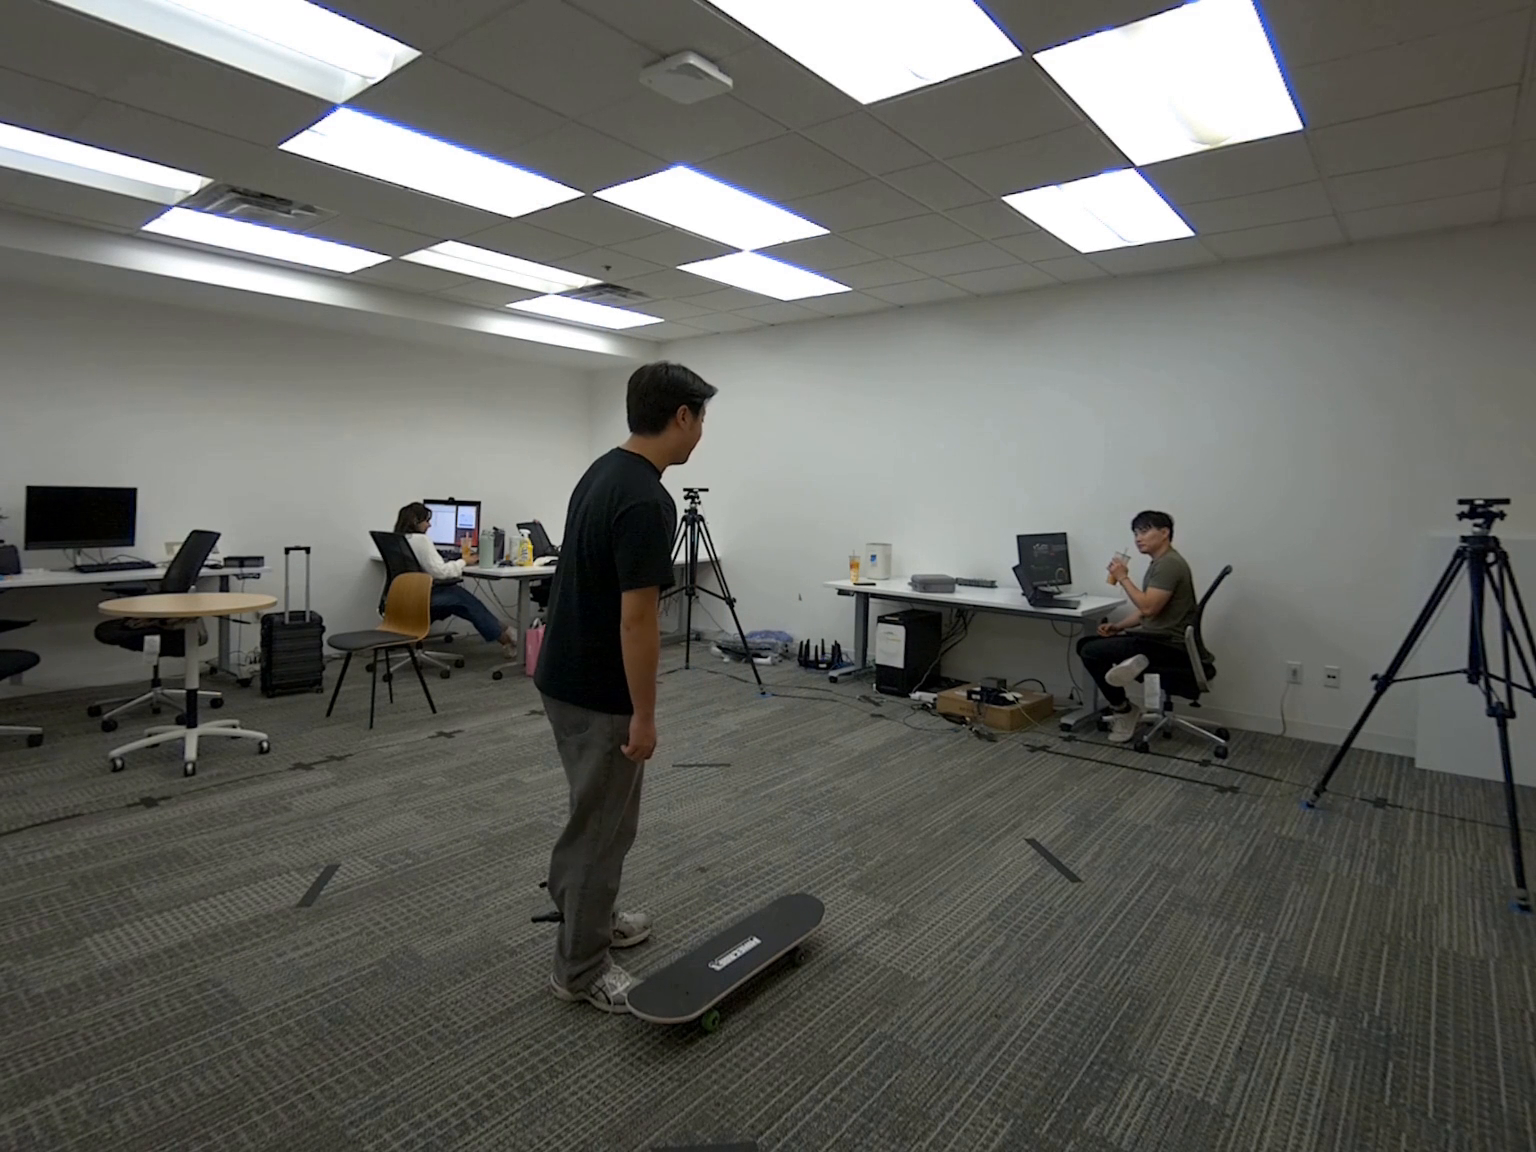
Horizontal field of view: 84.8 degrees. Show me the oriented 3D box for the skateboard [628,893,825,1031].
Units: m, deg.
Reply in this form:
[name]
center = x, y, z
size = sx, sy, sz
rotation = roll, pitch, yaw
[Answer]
[skateboard]
center = -0.100, 1.089, 2.386
size = 0.200, 0.110, 0.763
rotation = 7, 8, 38
